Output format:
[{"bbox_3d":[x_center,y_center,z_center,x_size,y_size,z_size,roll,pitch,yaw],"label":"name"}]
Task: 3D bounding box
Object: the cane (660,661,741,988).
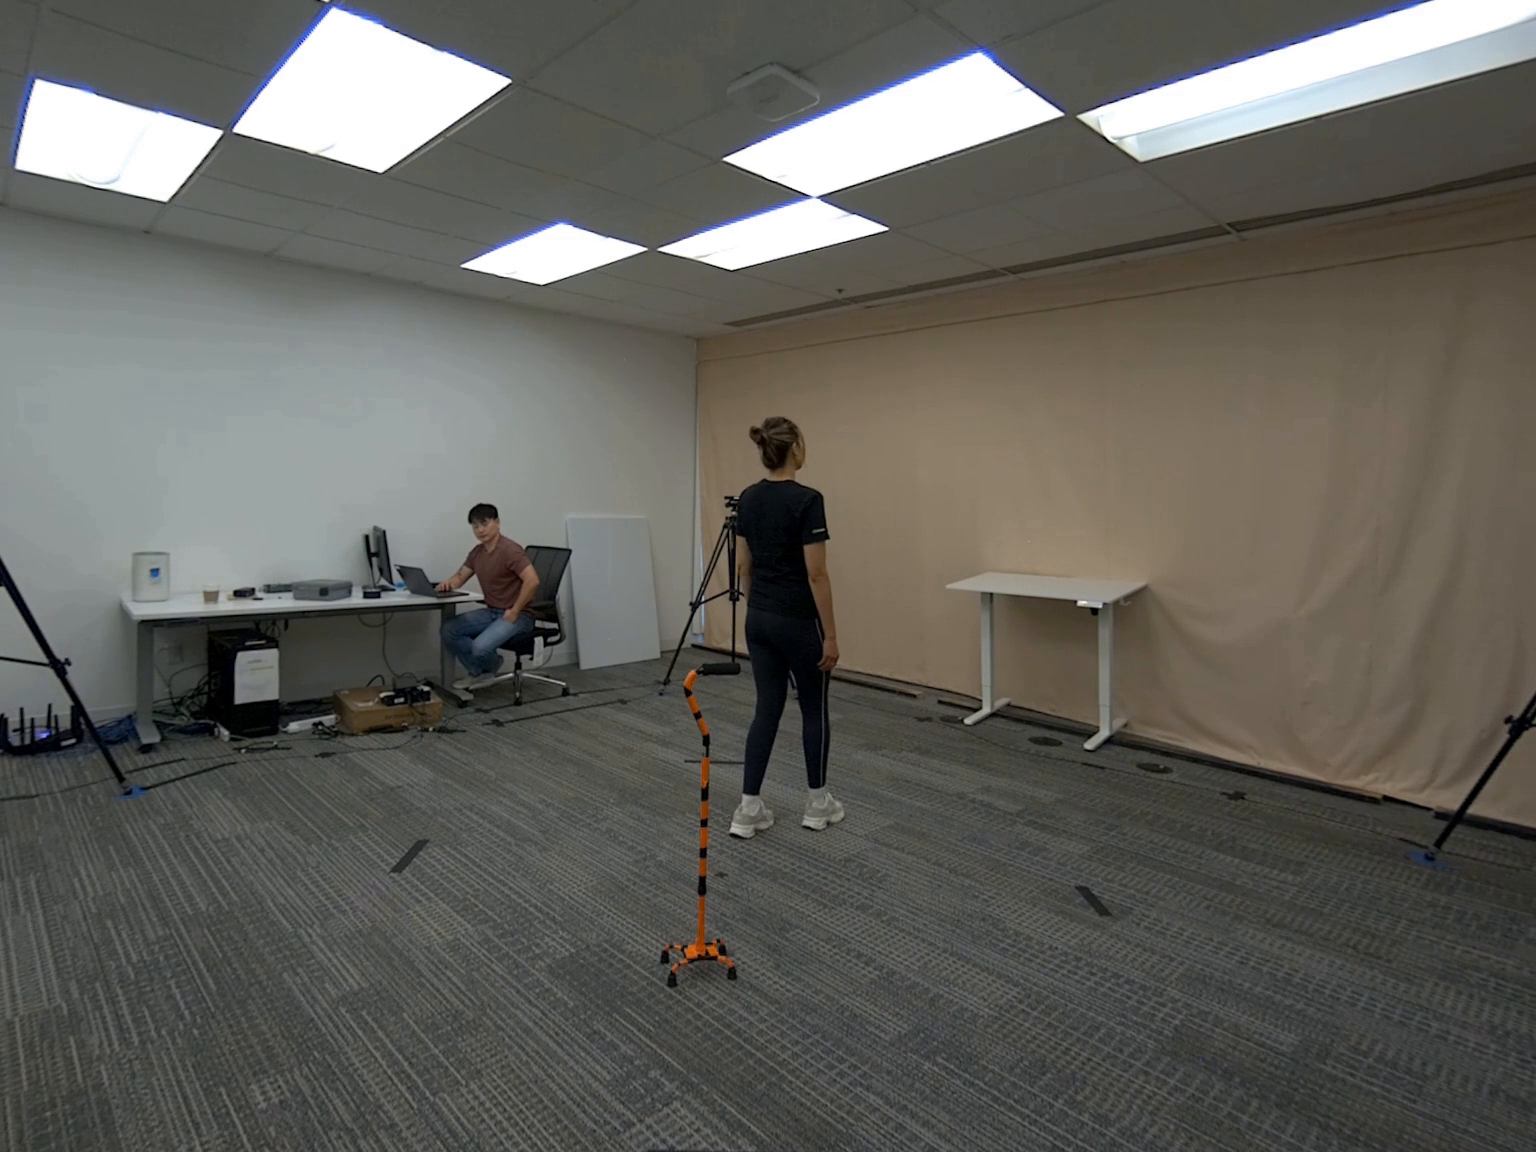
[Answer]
[{"bbox_3d":[-0.197,0.711,2.446,0.204,0.906,0.154,1,3,-15],"label":"cane"}]
